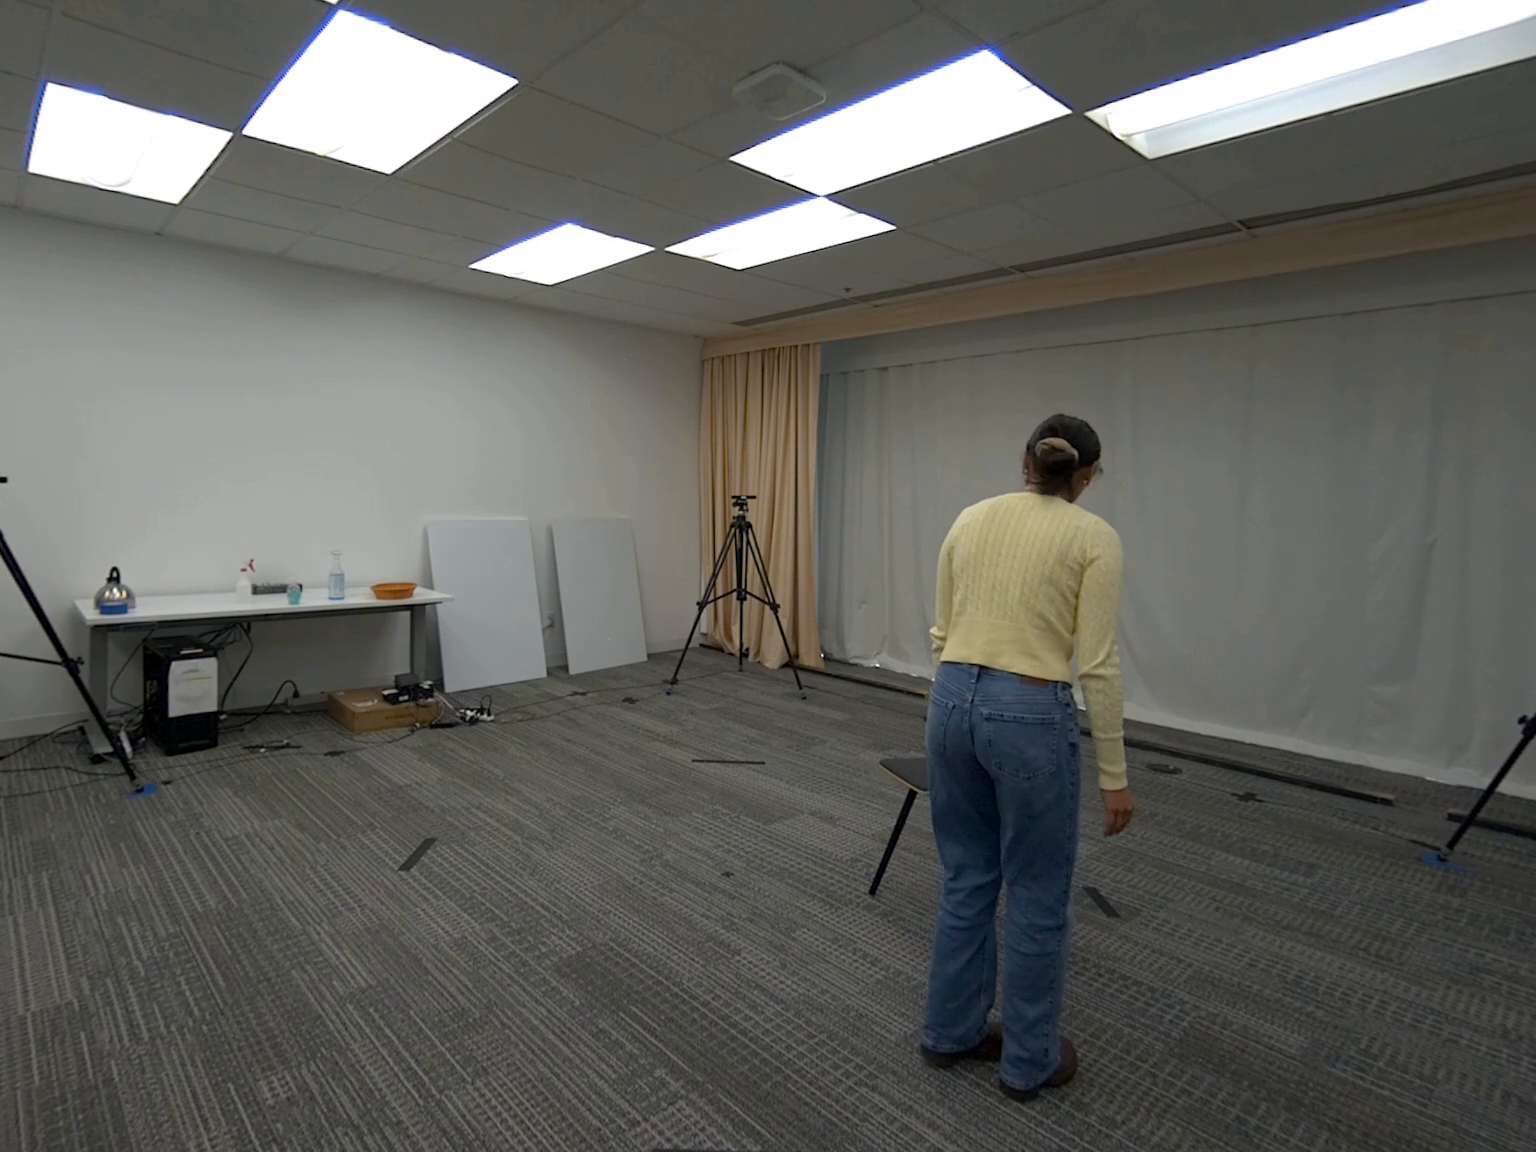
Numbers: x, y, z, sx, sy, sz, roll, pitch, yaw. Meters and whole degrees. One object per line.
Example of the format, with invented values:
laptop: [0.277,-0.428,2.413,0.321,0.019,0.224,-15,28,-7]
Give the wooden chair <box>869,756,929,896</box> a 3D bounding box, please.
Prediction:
wooden chair: [0.653,0.725,2.815,0.470,0.872,0.534,0,9,-22]
